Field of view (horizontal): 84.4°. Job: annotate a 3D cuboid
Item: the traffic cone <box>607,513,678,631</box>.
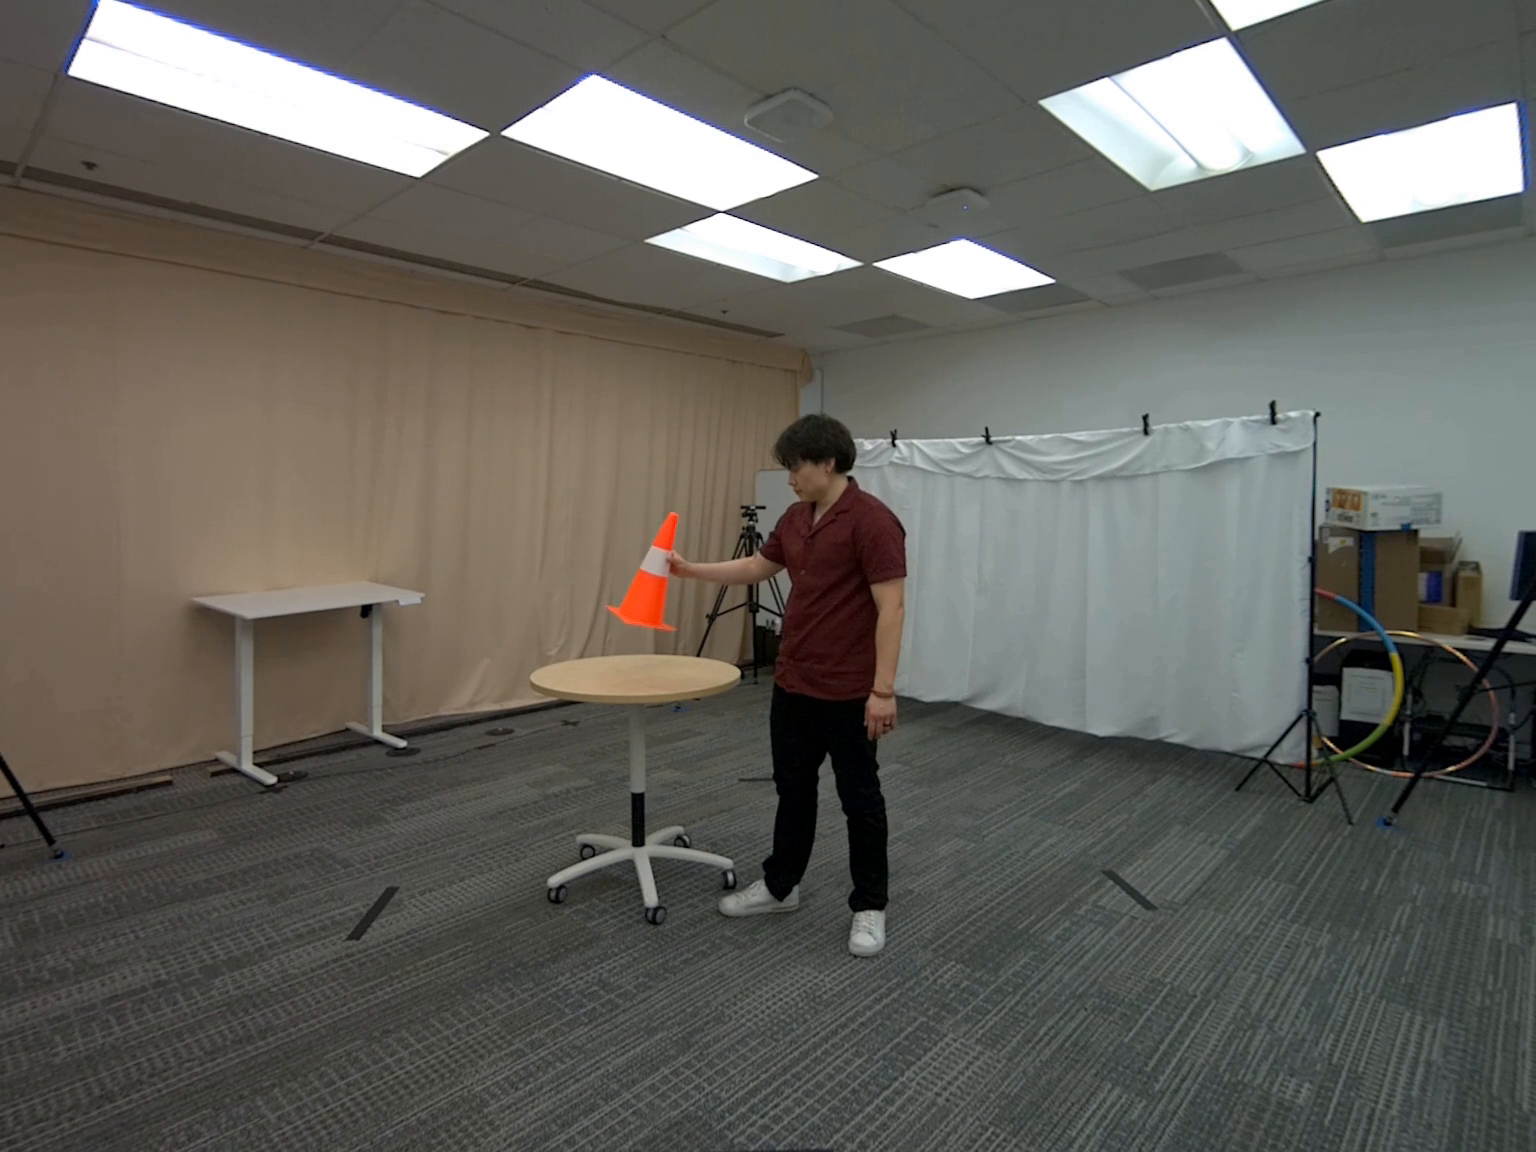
[{"bbox_3d":[-0.394,-0.026,2.879,0.198,0.383,0.211,15,6,-44],"label":"traffic cone"}]
